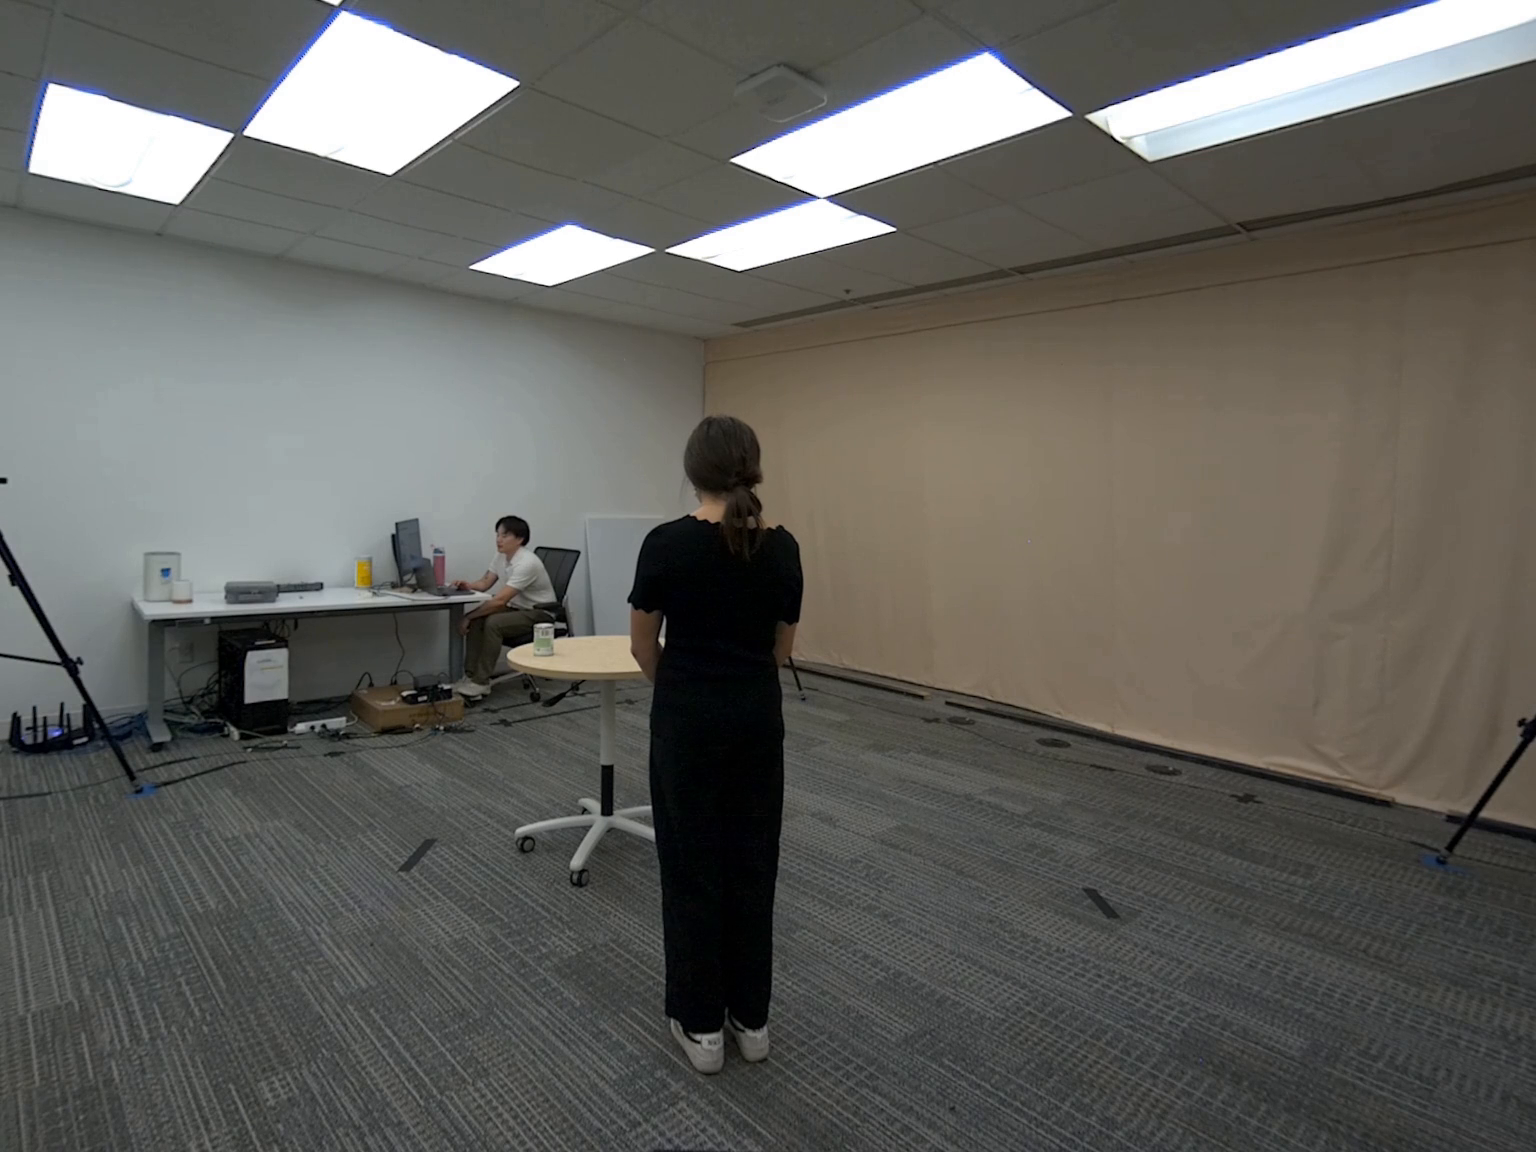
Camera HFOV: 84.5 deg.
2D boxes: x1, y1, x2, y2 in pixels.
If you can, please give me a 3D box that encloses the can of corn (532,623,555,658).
[{"bbox_3d":[-0.855,0.245,3.192,0.074,0.111,0.074,-1,2,-1],"label":"can of corn"}]
